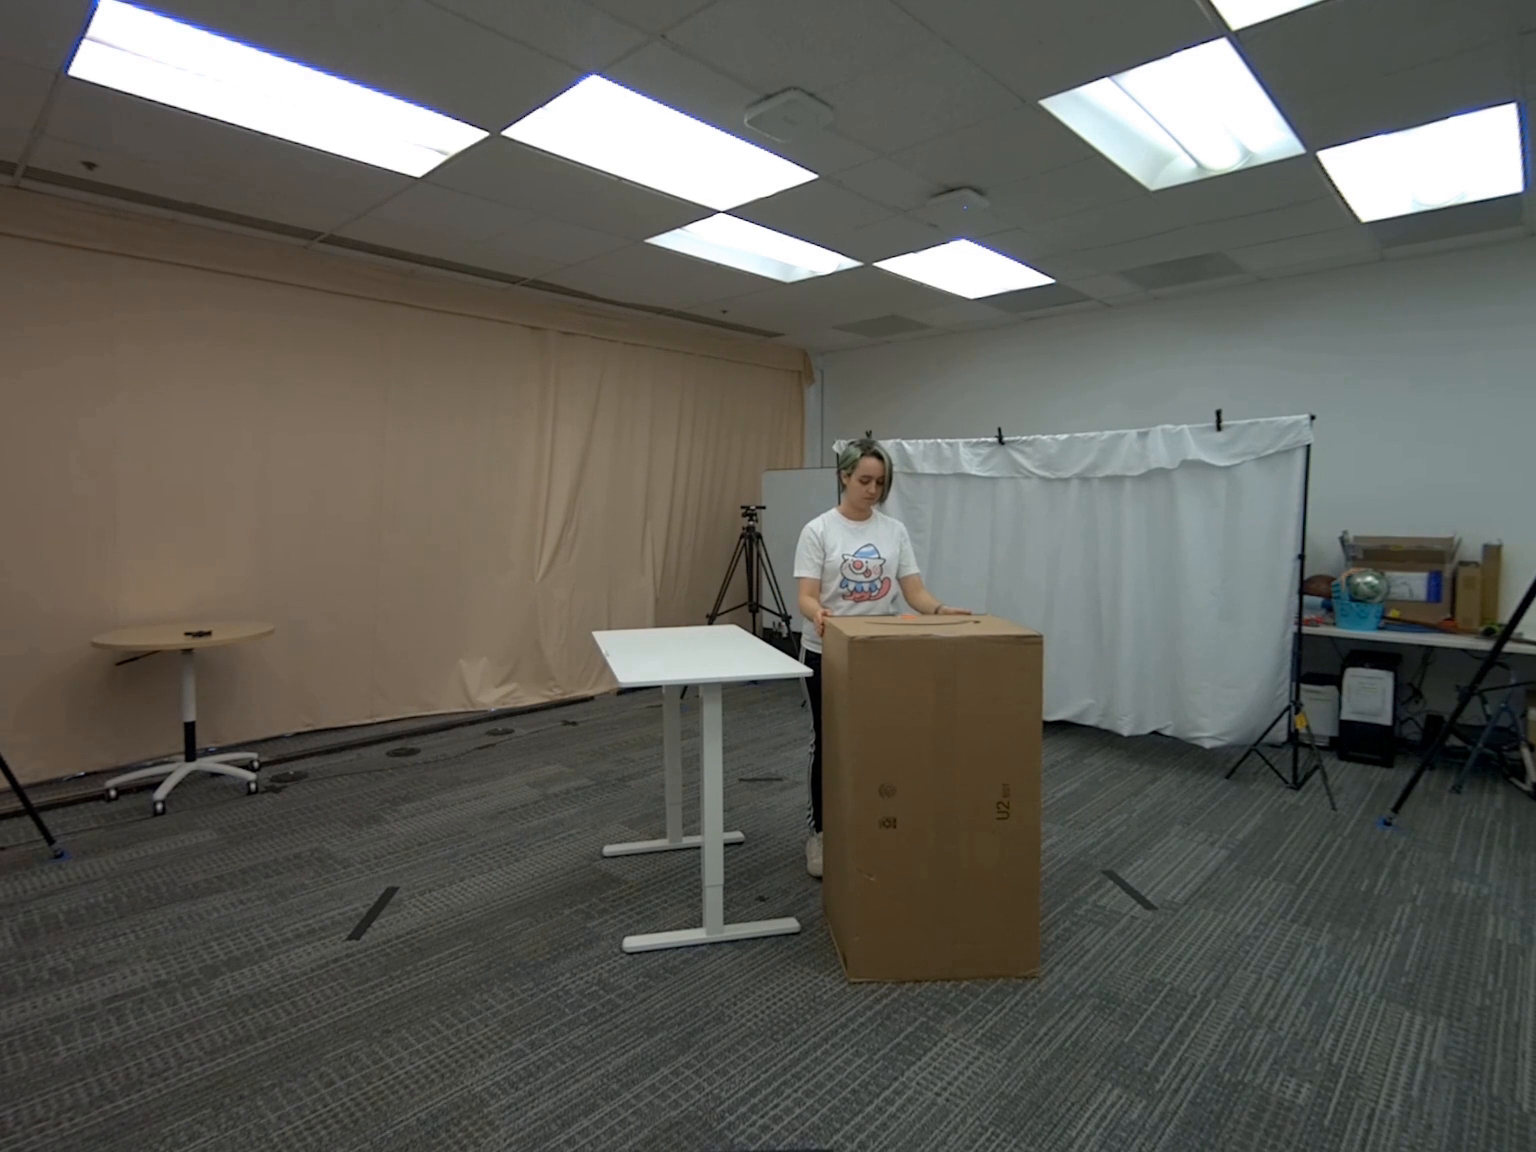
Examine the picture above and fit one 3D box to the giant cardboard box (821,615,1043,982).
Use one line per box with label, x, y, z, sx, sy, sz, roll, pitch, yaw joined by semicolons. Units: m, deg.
giant cardboard box;0.496;0.666;2.645;0.582;1.024;0.450;0;4;-4
